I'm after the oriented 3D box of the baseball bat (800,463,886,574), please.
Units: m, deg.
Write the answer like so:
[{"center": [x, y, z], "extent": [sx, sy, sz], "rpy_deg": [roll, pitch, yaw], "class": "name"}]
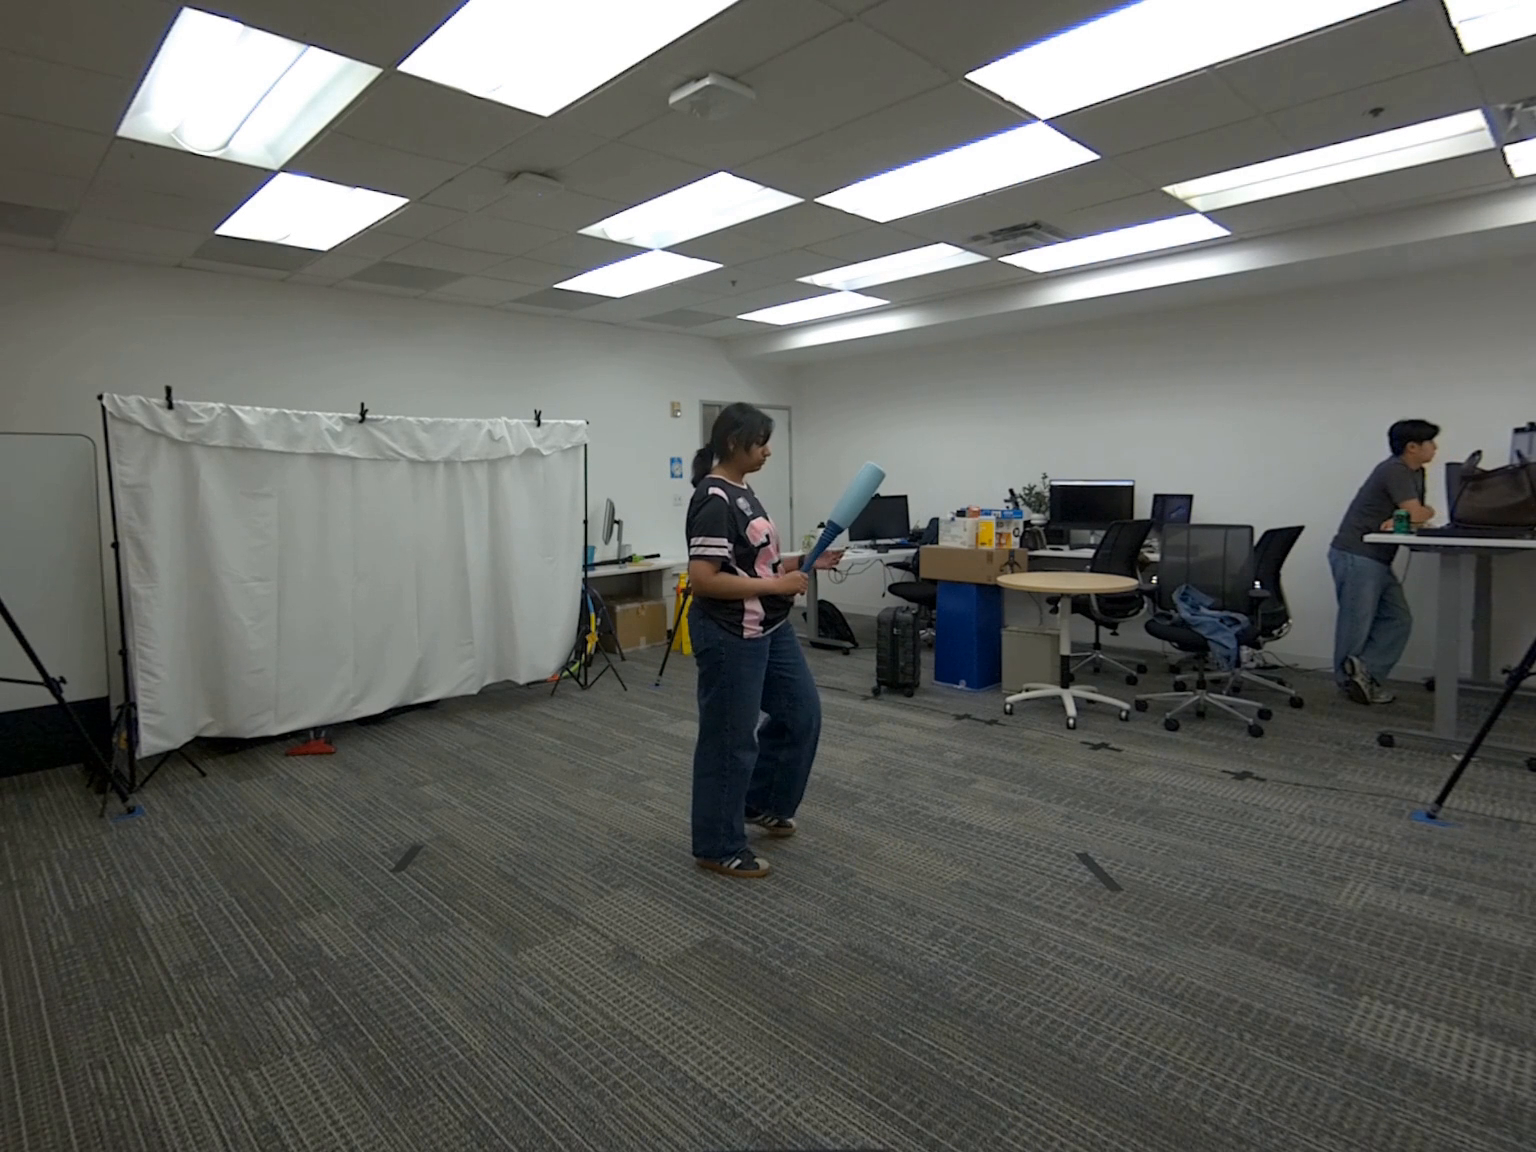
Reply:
[{"center": [0.221, -0.158, 2.963], "extent": [0.089, 0.543, 0.089], "rpy_deg": [36, -2, -1], "class": "baseball bat"}]
